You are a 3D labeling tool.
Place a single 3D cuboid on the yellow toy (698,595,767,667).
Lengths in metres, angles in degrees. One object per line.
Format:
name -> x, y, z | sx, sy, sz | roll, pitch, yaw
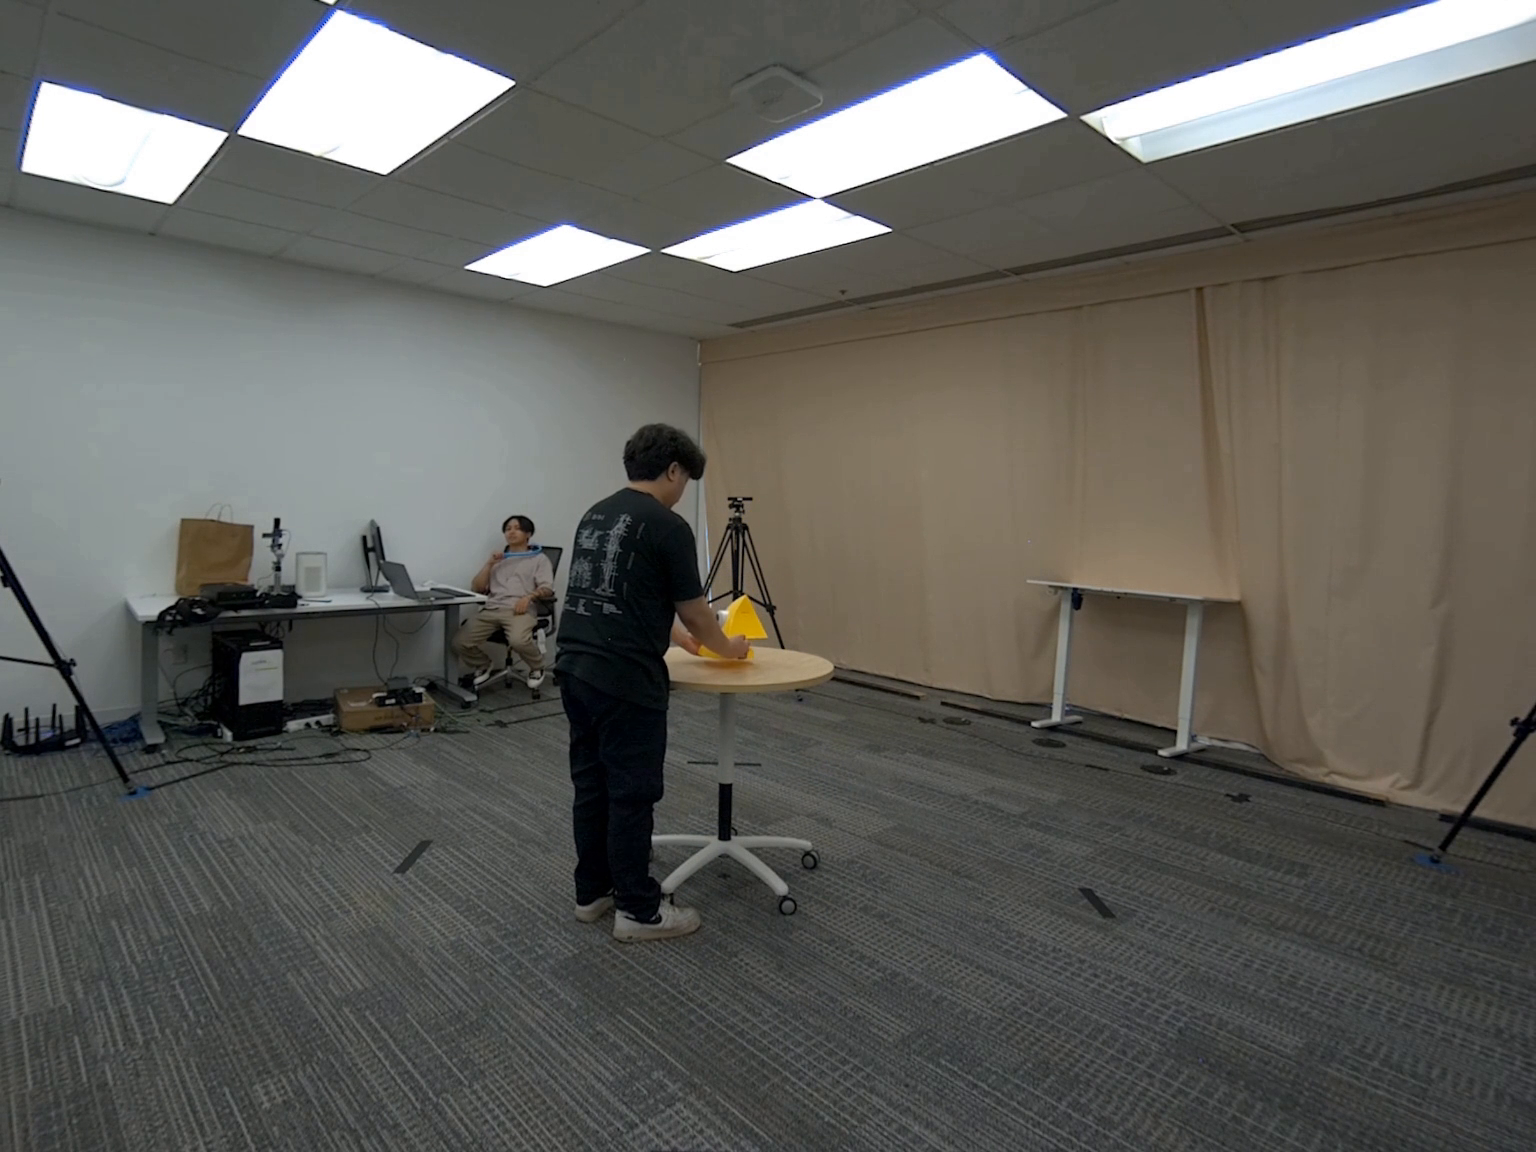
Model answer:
yellow toy -> -0.141, 0.175, 3.035 | 0.198, 0.230, 0.200 | 6, 2, 43
